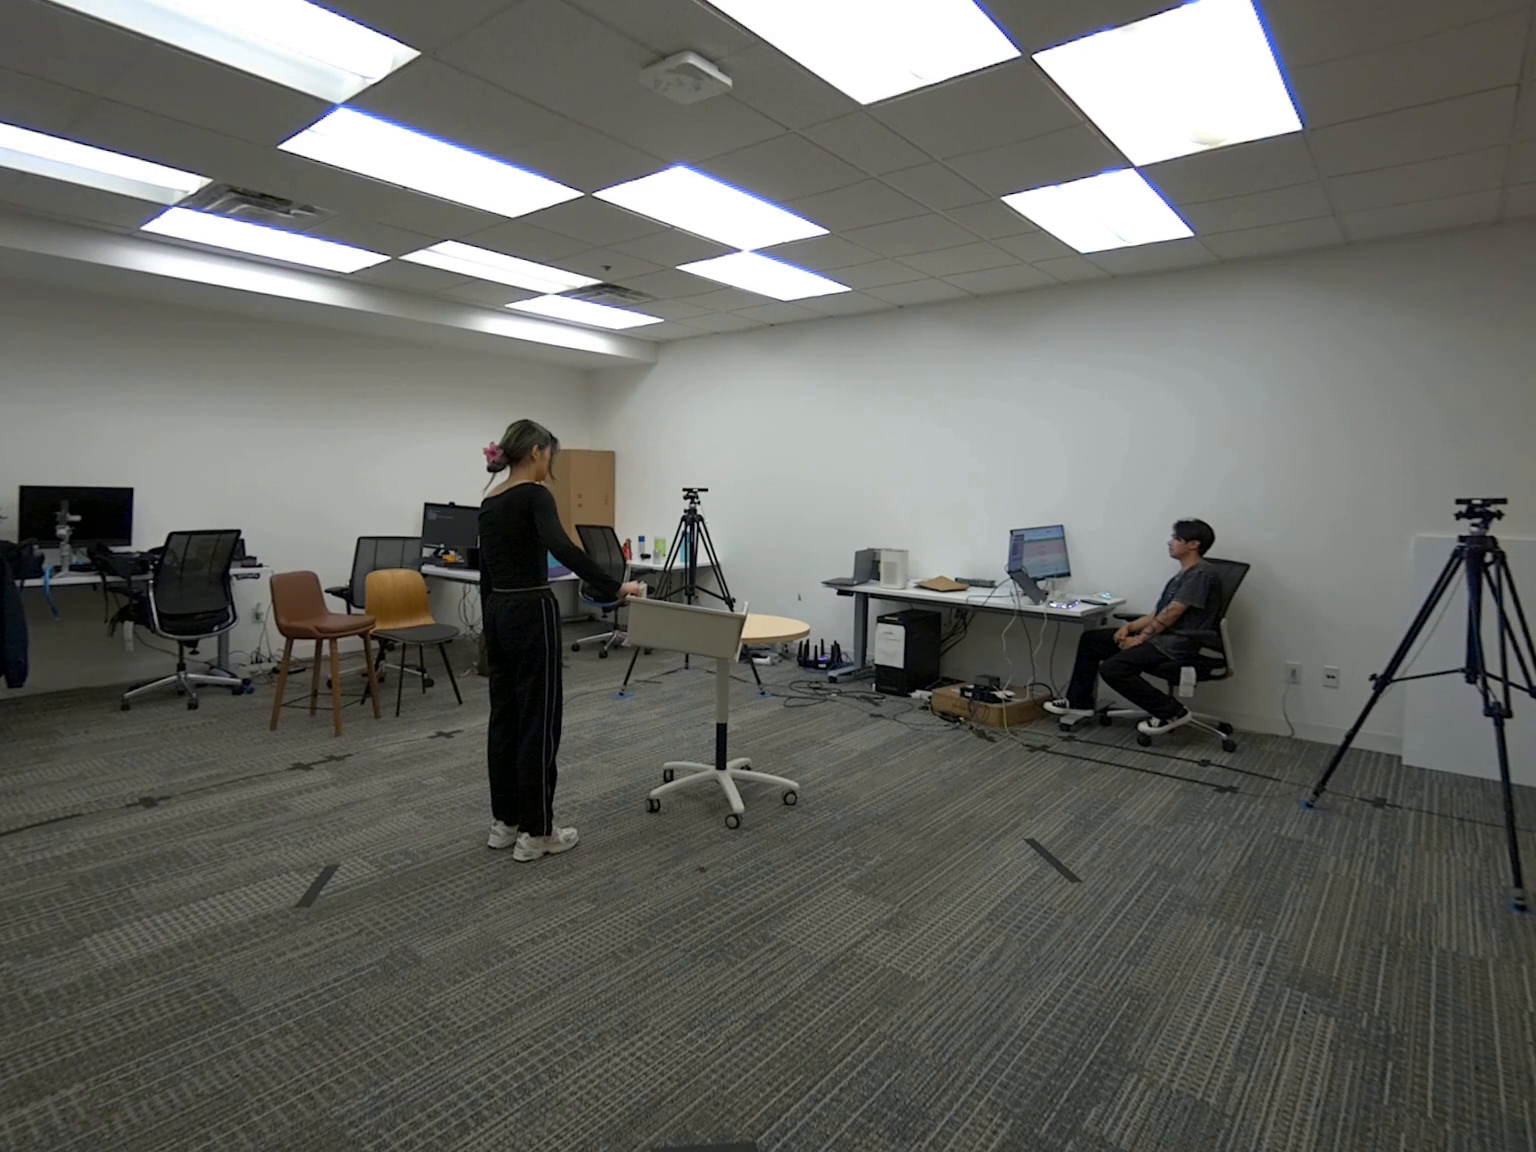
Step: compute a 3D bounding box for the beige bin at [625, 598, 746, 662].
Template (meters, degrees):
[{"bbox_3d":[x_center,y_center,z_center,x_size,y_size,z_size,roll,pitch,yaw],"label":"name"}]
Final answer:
[{"bbox_3d":[-0.301,0.153,3.121,0.426,0.187,0.377,7,9,5],"label":"beige bin"}]
